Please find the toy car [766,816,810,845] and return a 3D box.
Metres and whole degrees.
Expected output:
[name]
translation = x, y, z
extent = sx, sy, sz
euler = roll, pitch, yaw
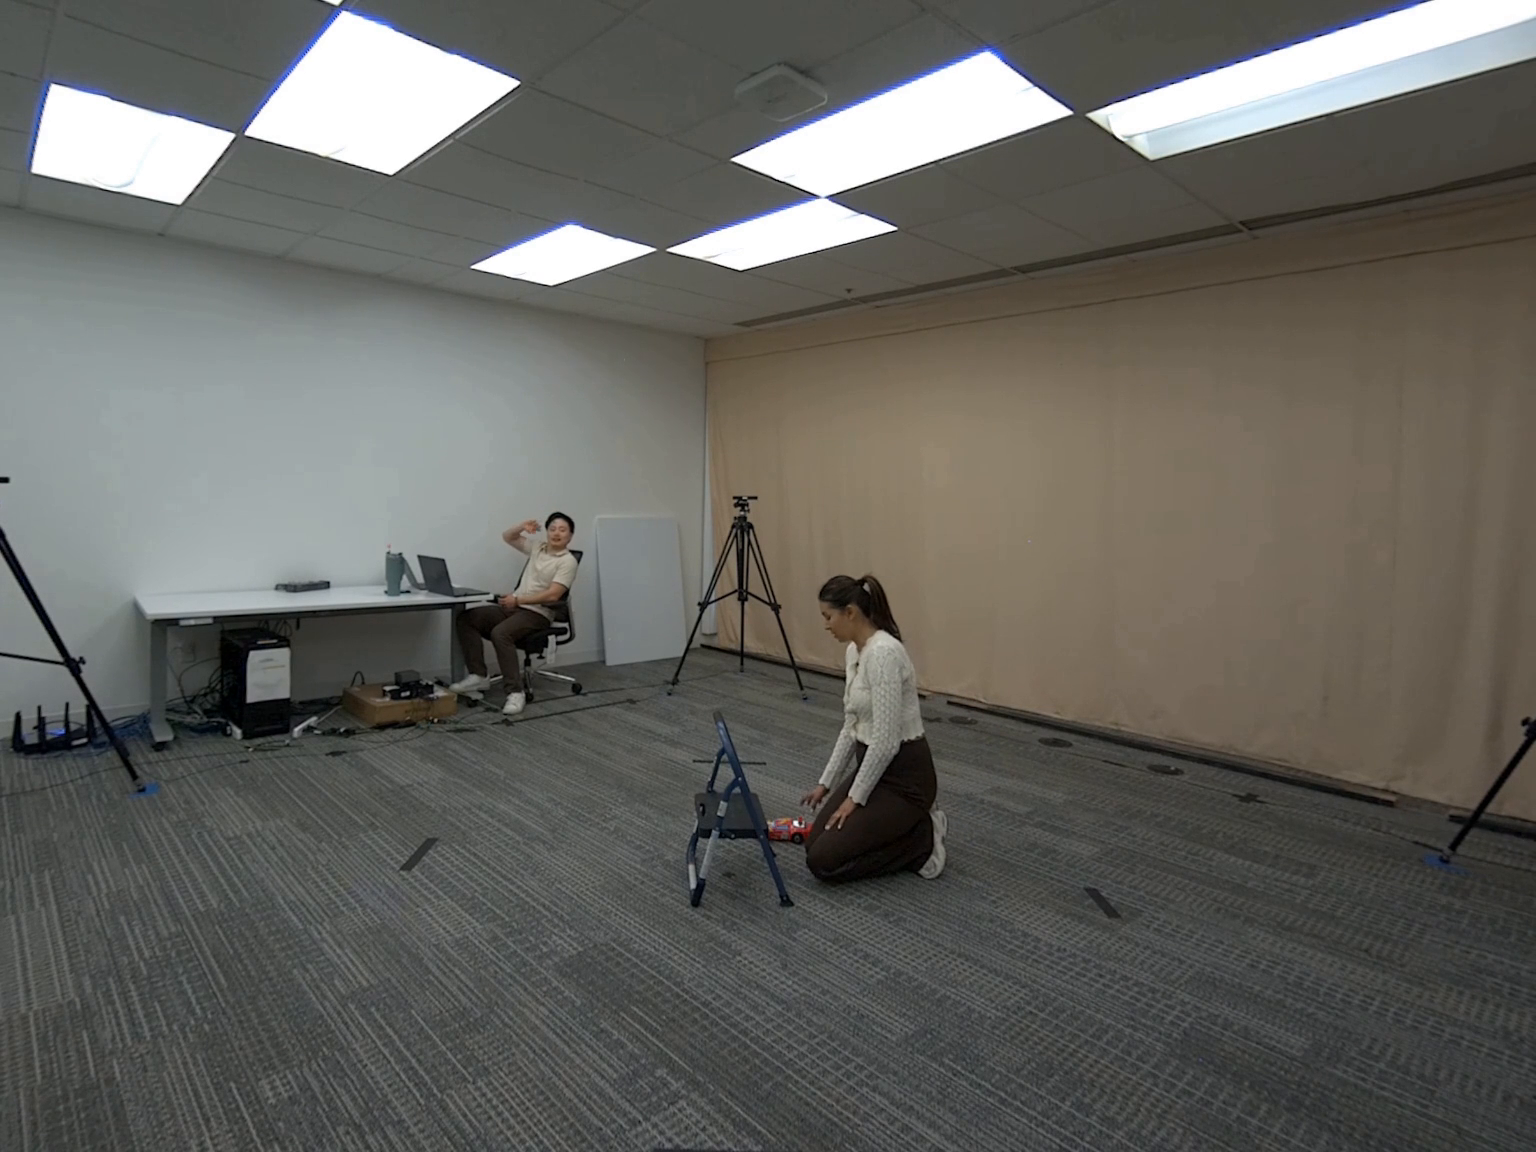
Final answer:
[toy car]
translation = 0.062, 1.046, 3.465
extent = 0.255, 0.083, 0.130
euler = -8, 4, 4
